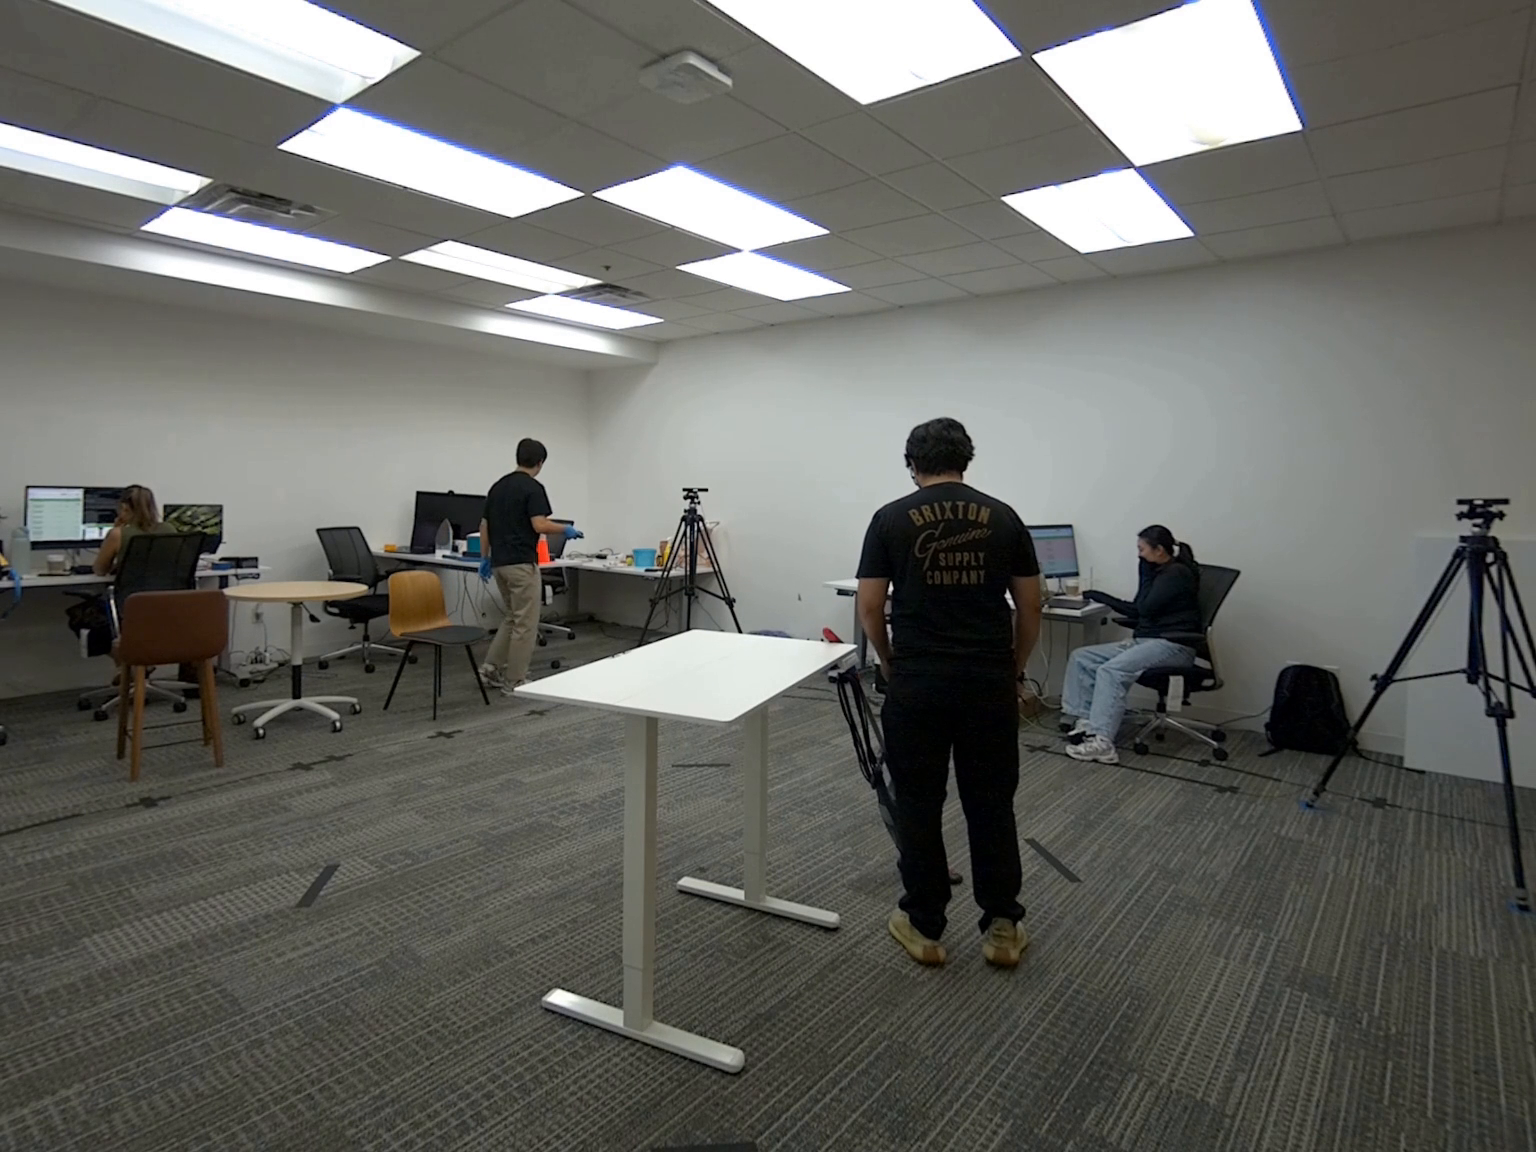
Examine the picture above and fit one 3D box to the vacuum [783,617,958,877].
[{"bbox_3d":[0.372,0.628,2.955,0.260,1.024,0.143,-2,28,45],"label":"vacuum"}]
